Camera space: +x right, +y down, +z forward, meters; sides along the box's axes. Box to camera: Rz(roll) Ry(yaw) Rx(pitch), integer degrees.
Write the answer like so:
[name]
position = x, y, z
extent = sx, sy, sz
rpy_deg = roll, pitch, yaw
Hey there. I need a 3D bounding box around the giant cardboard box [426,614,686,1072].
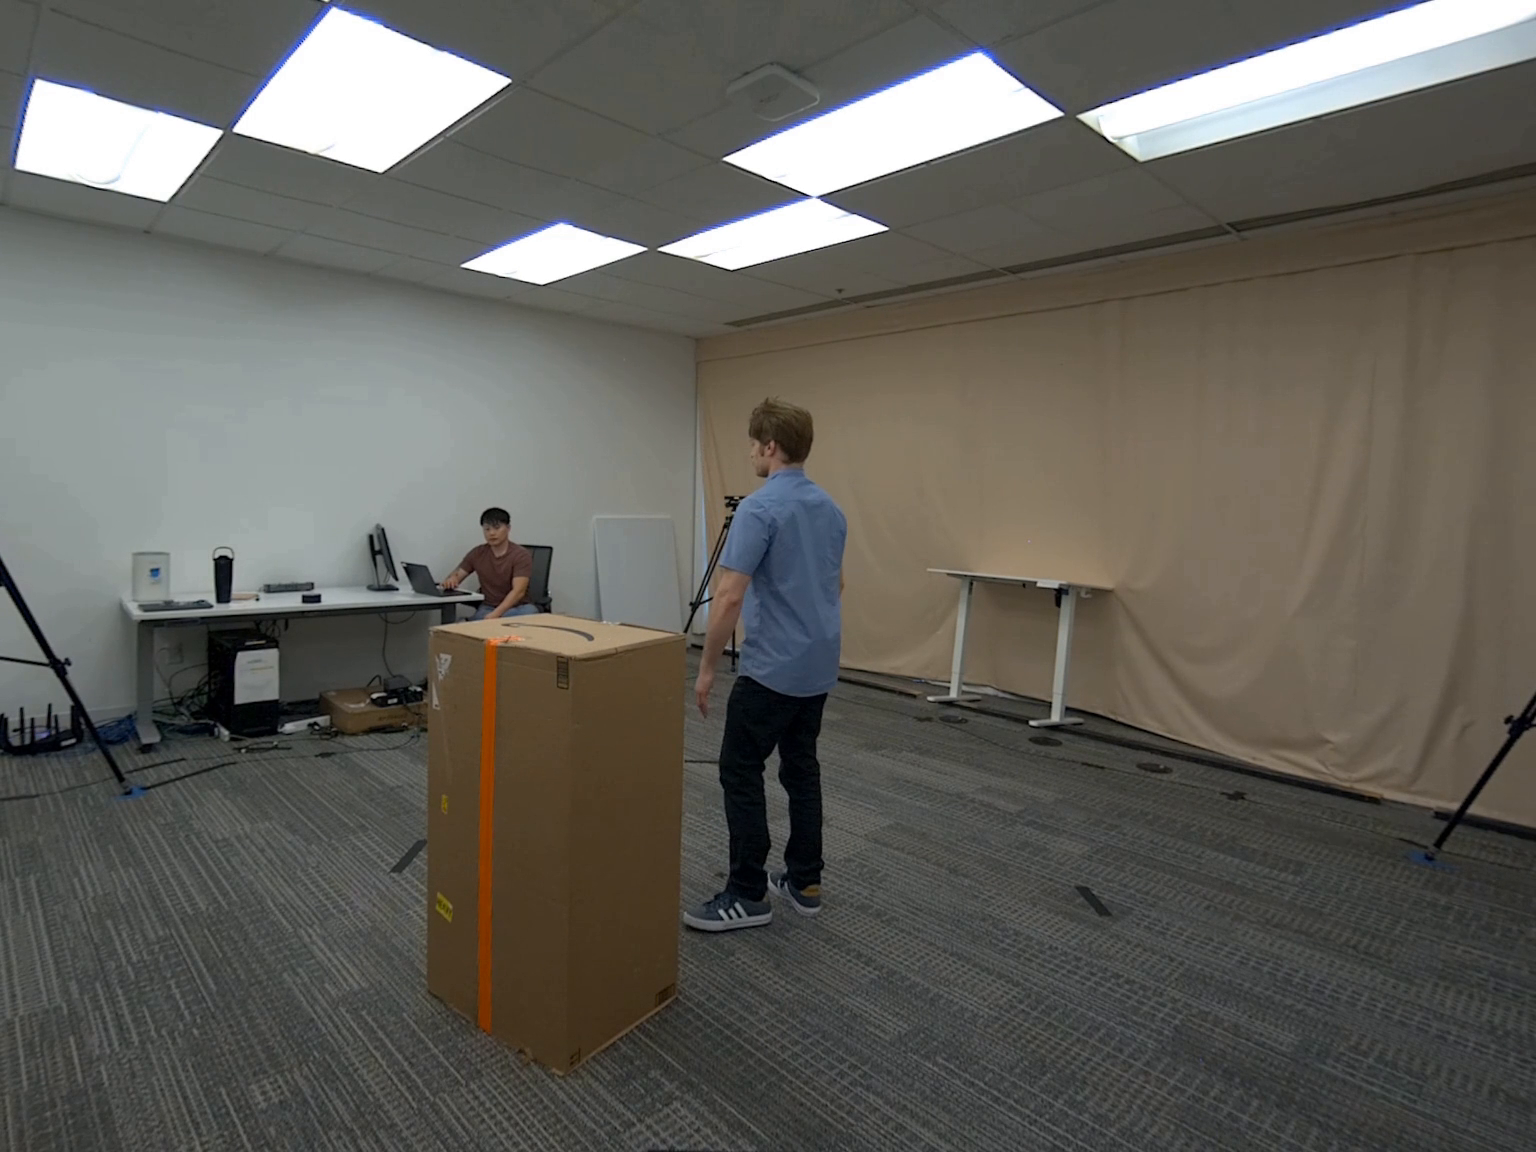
[giant cardboard box]
position = -0.594, 0.660, 2.302
extent = 0.592, 1.023, 0.417
rpy_deg = 4, 4, 37
